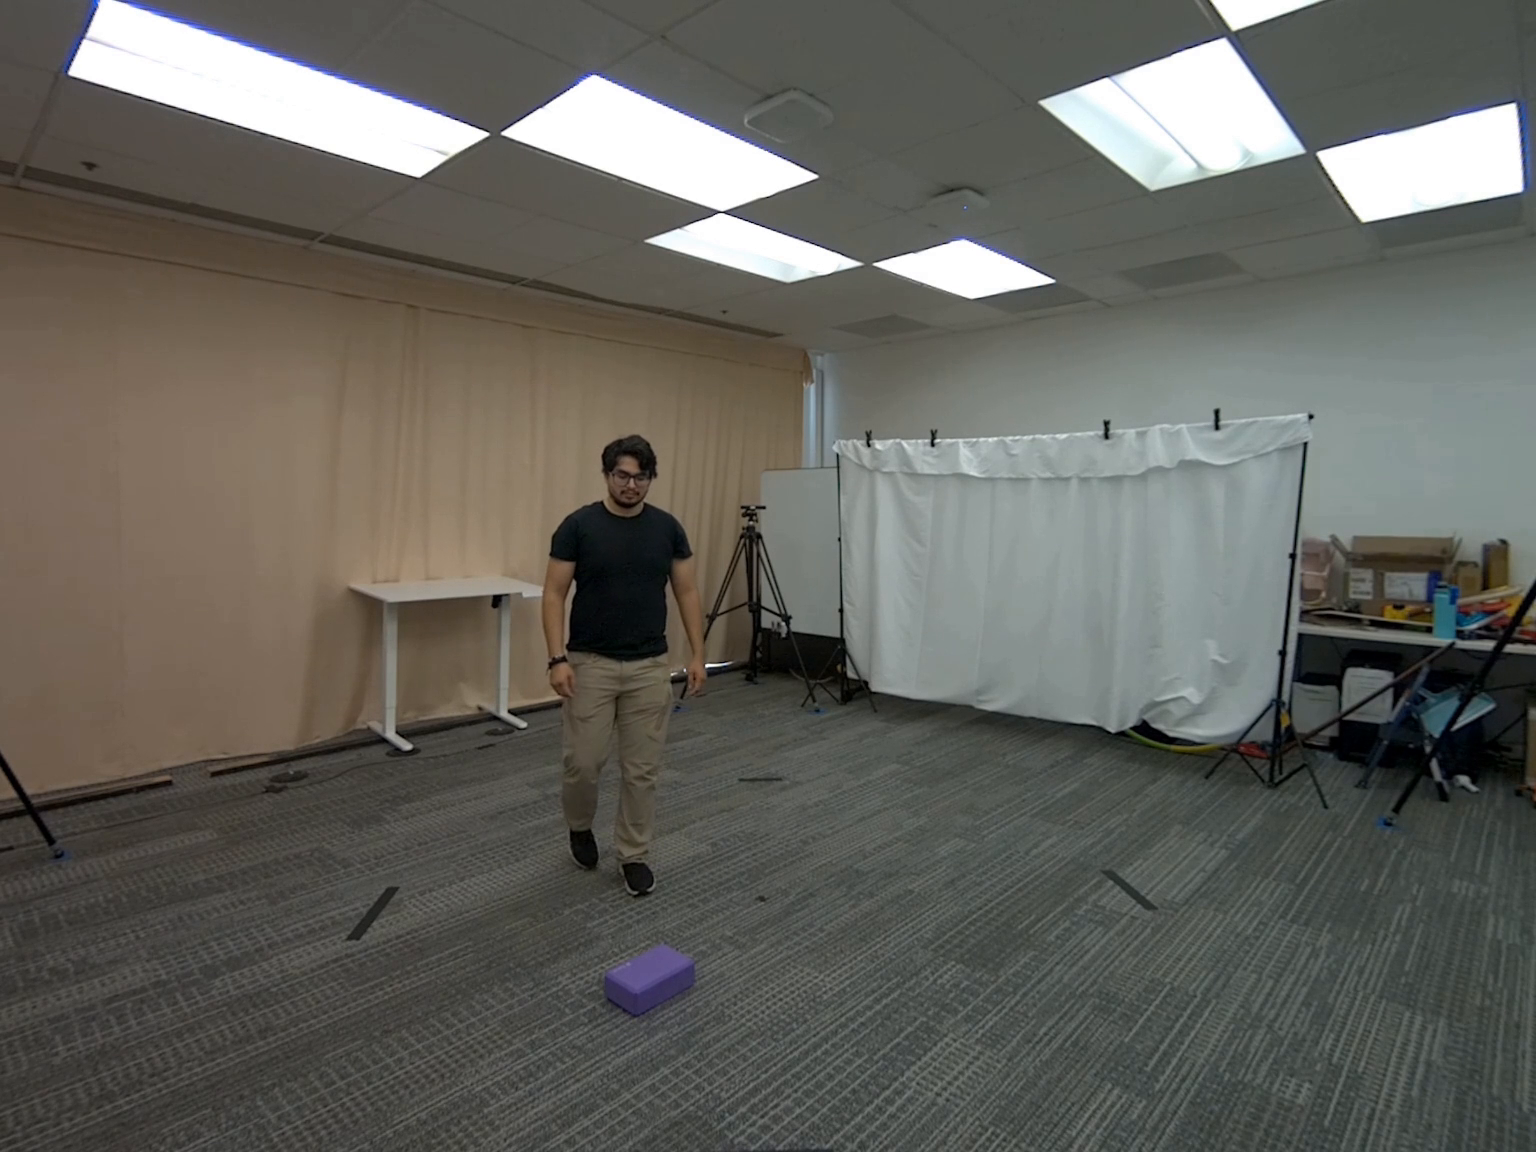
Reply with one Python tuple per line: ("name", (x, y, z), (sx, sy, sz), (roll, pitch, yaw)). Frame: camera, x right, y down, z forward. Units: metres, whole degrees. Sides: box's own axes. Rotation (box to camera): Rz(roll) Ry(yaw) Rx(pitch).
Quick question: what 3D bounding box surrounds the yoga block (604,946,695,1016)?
("yoga block", (-0.336, 1.155, 2.410), (0.154, 0.076, 0.222), (5, 7, 43))
